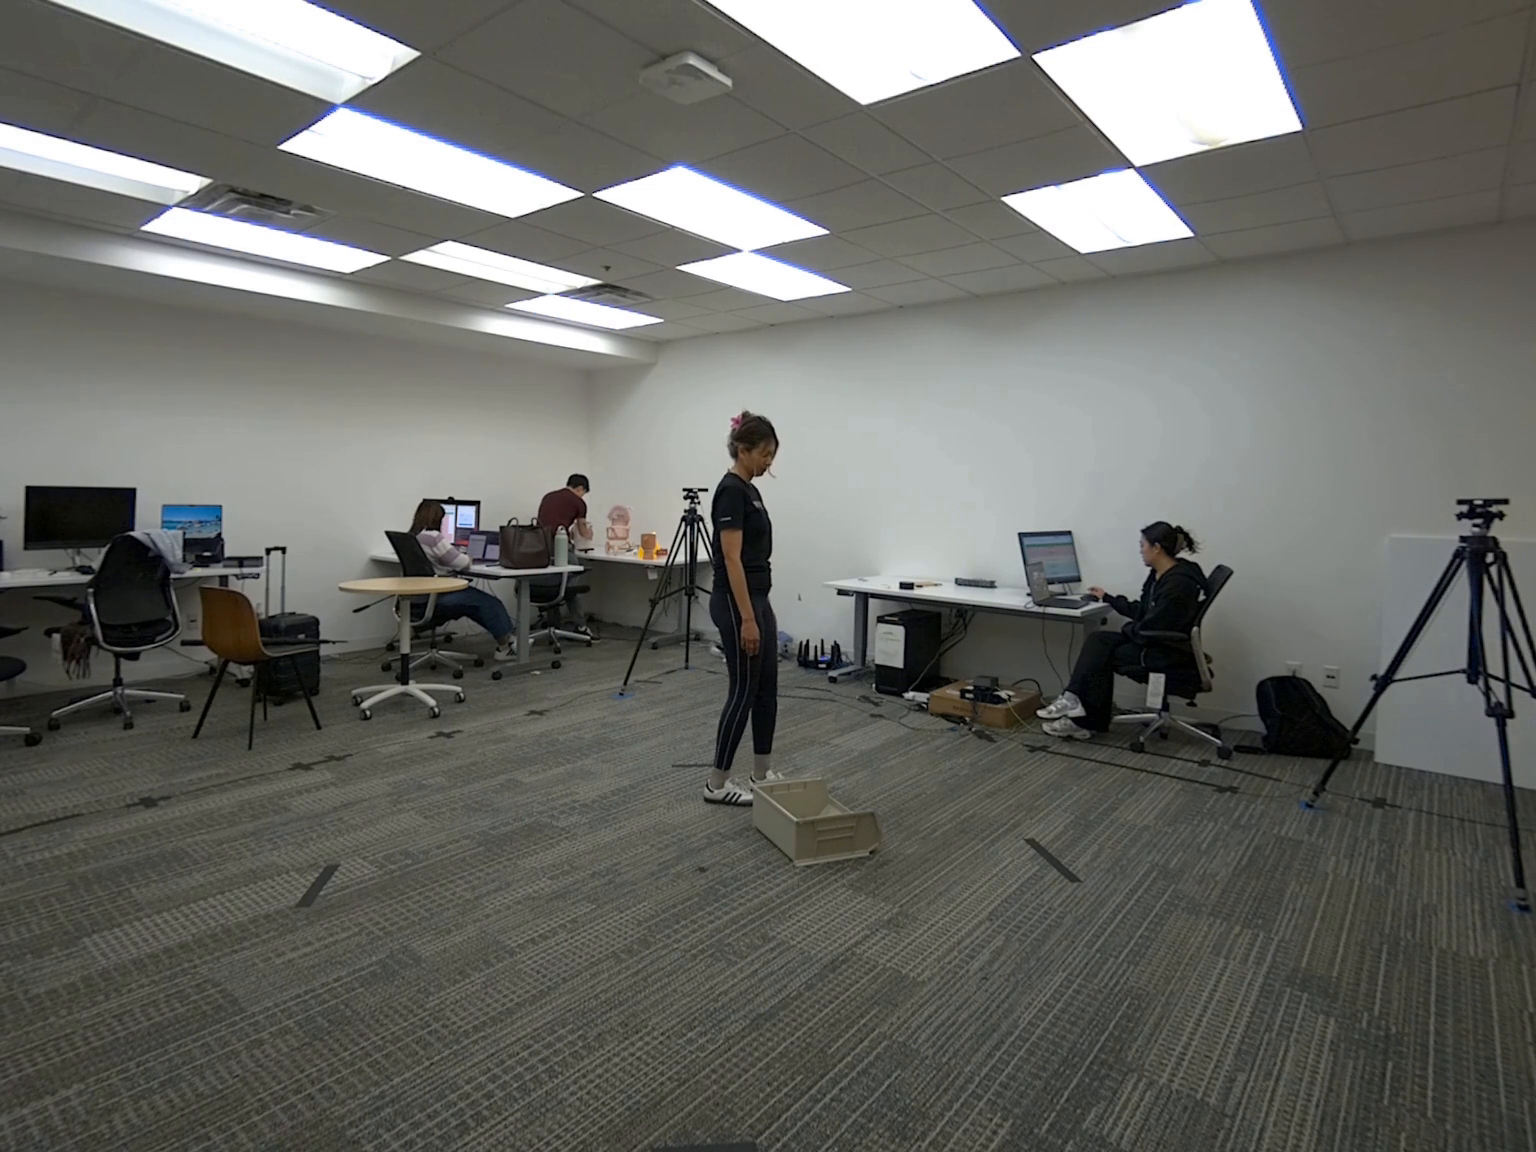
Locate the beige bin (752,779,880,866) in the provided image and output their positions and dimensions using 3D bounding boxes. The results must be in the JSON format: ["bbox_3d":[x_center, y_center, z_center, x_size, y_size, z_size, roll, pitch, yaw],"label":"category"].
[{"bbox_3d":[0.175,0.960,3.396,0.369,0.188,0.434,-2,7,-24],"label":"beige bin"}]
